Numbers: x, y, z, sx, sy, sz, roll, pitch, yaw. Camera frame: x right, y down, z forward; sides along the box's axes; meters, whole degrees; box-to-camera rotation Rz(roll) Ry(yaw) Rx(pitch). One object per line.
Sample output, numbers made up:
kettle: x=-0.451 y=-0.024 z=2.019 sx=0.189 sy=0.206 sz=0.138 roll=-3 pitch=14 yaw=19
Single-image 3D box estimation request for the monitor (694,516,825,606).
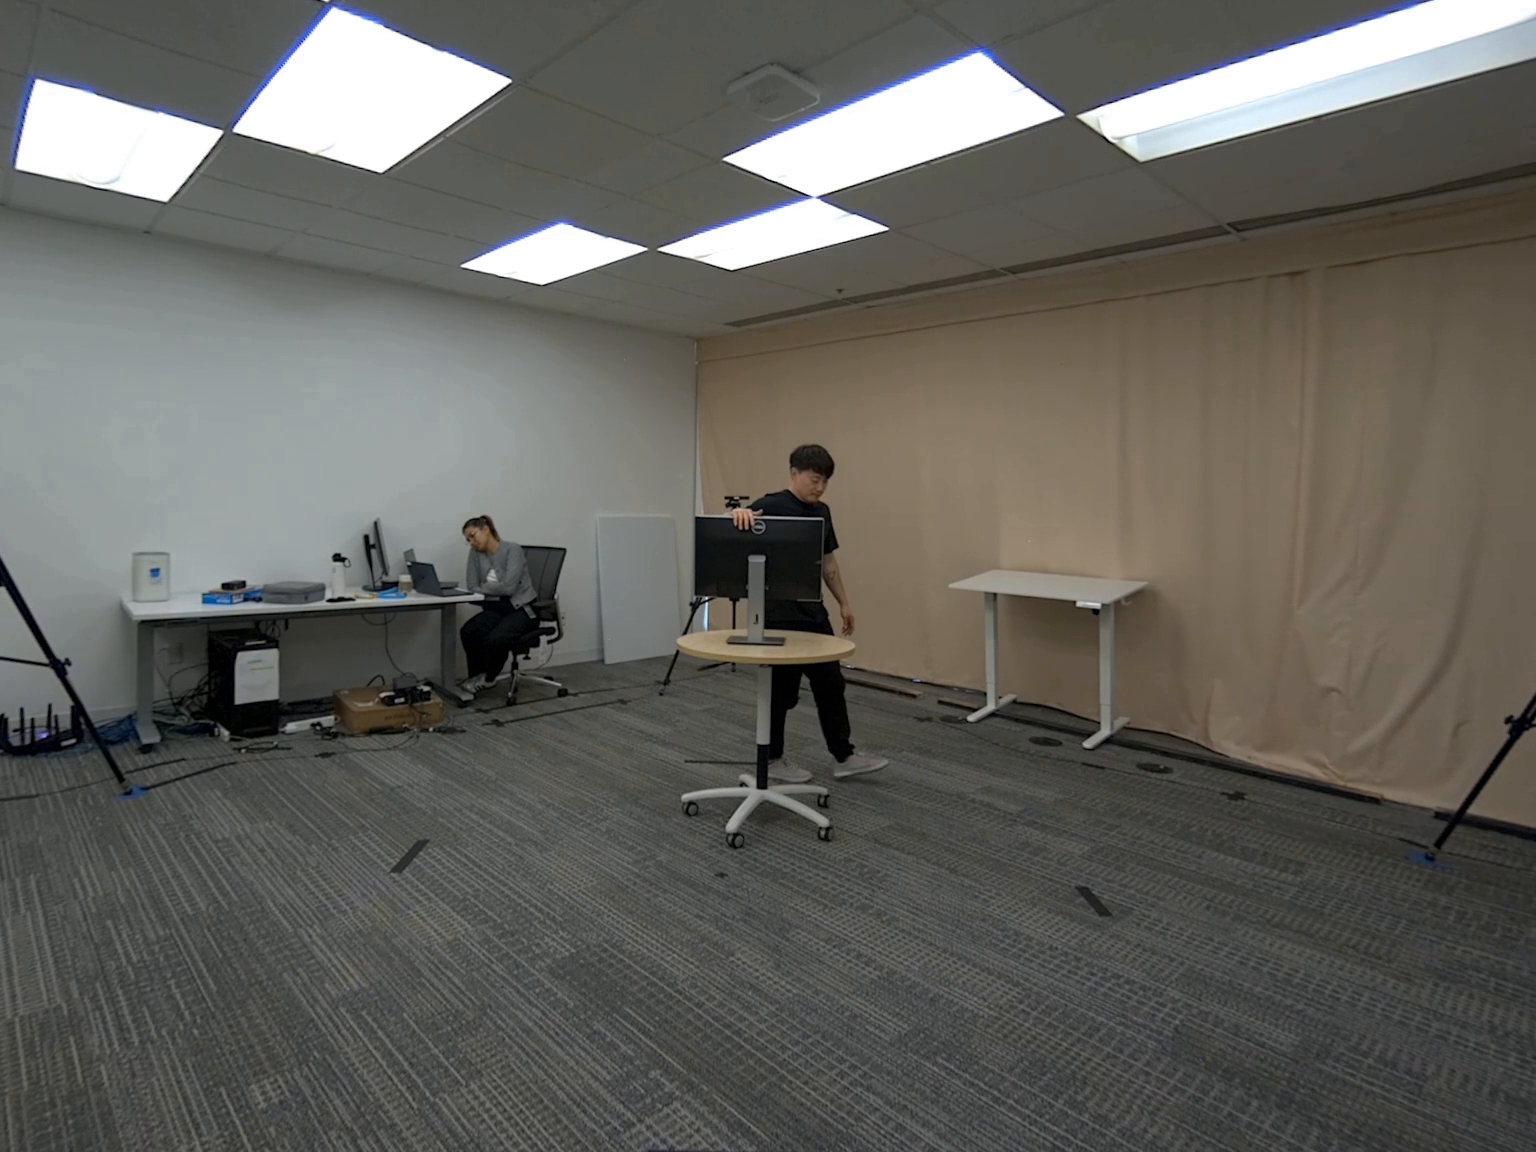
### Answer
monitor: x=-0.051 y=0.021 z=3.604 sx=0.540 sy=0.522 sz=0.186 roll=2 pitch=1 yaw=3
